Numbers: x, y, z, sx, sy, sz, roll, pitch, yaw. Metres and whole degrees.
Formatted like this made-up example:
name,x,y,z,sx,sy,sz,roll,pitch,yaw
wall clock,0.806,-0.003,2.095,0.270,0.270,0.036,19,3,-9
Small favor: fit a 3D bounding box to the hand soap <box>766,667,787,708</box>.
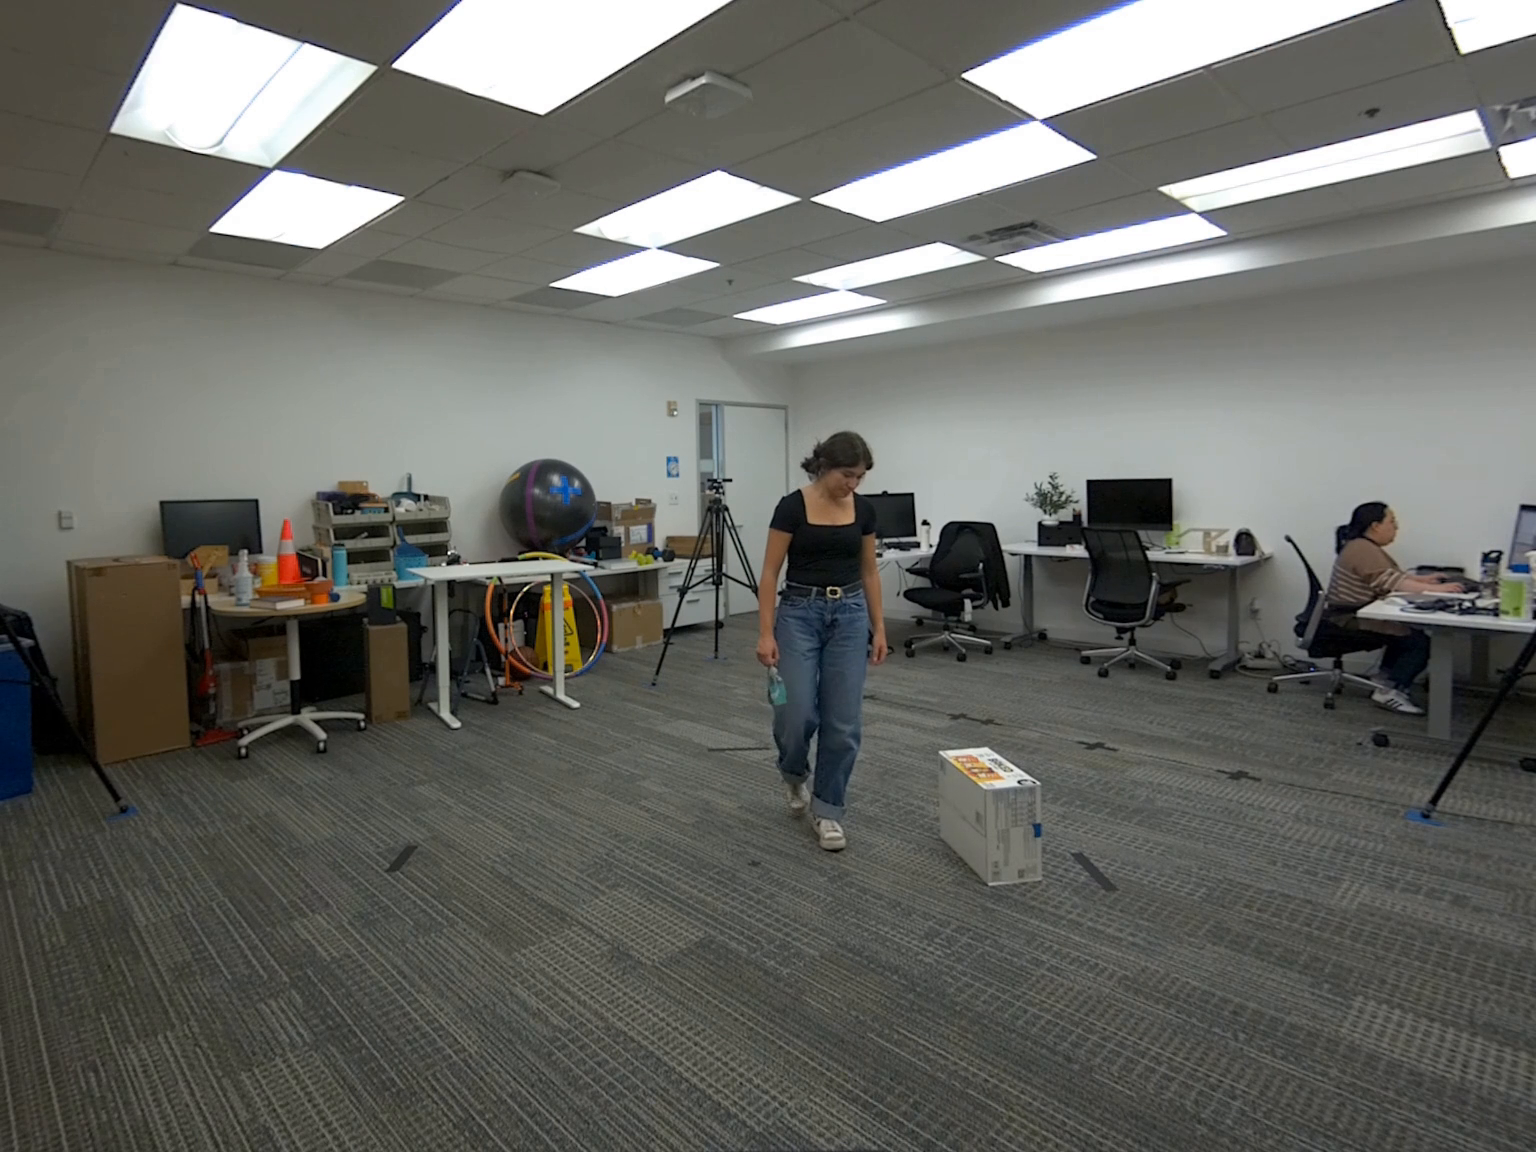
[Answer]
name,x,y,z,sx,sy,sz,roll,pitch,yaw
hand soap,0.028,0.397,3.185,0.042,0.169,0.086,-5,-9,-37
